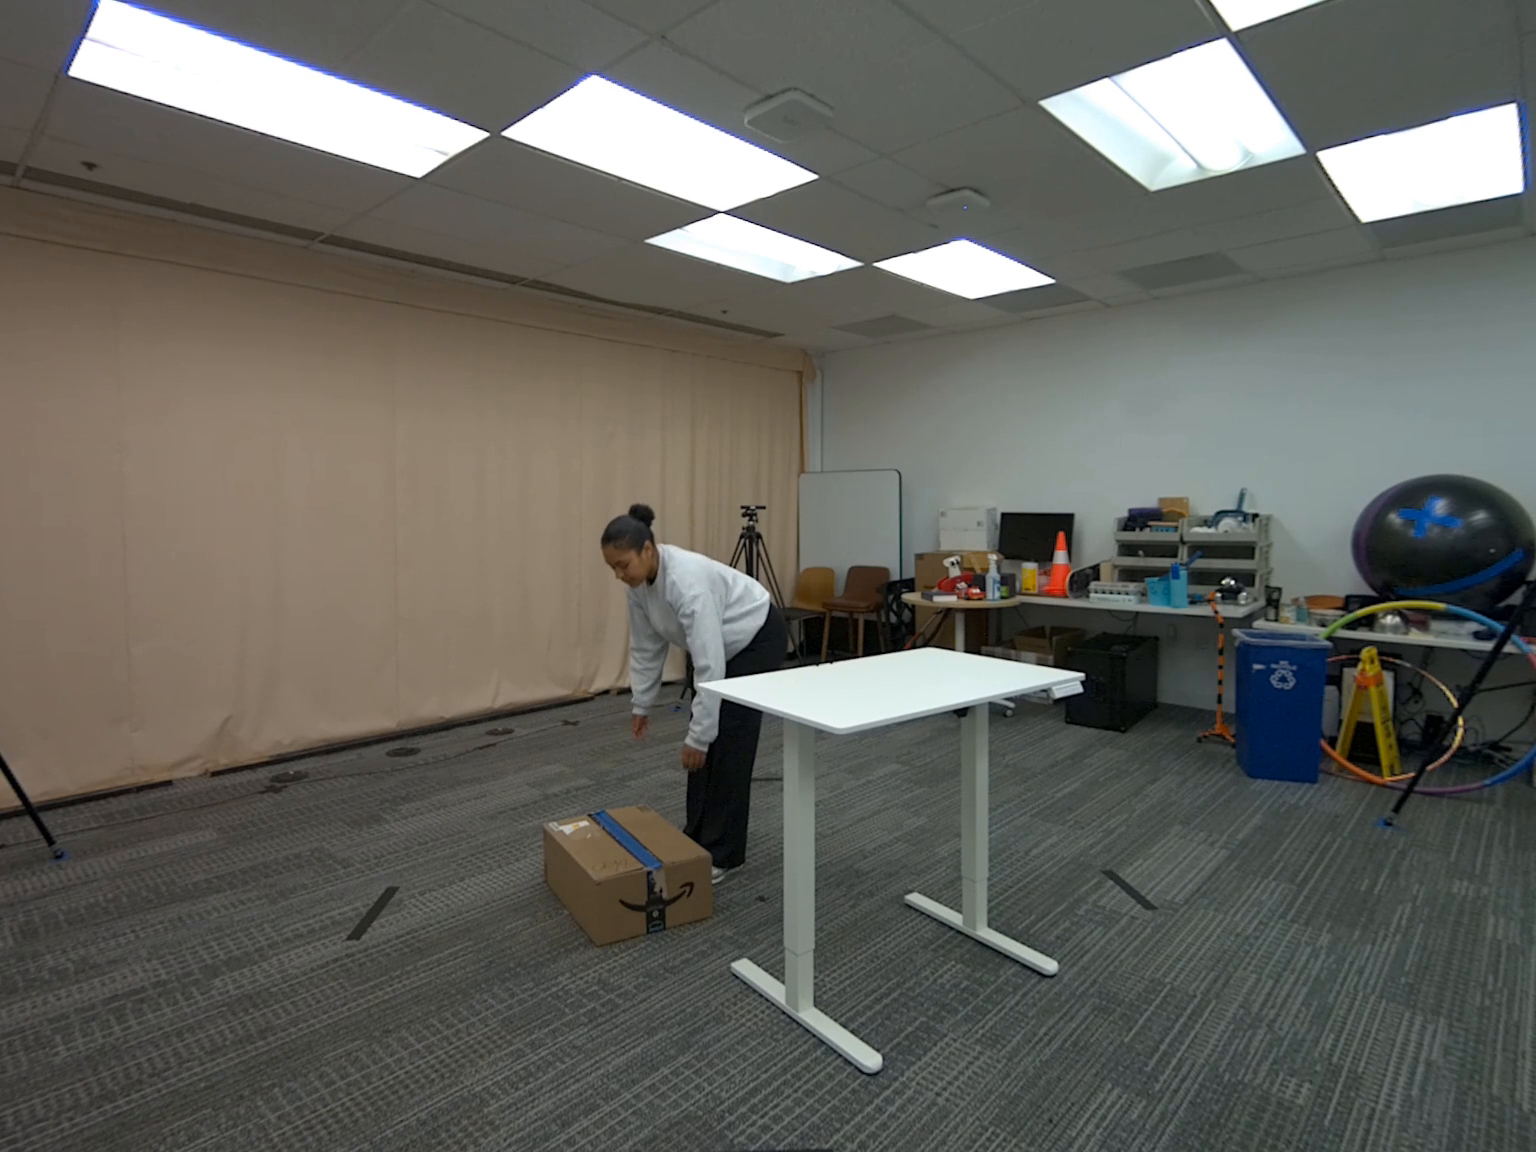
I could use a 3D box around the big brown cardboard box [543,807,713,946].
[{"bbox_3d":[-0.513,1.035,2.995,0.406,0.232,0.606,-3,6,-31],"label":"big brown cardboard box"}]
